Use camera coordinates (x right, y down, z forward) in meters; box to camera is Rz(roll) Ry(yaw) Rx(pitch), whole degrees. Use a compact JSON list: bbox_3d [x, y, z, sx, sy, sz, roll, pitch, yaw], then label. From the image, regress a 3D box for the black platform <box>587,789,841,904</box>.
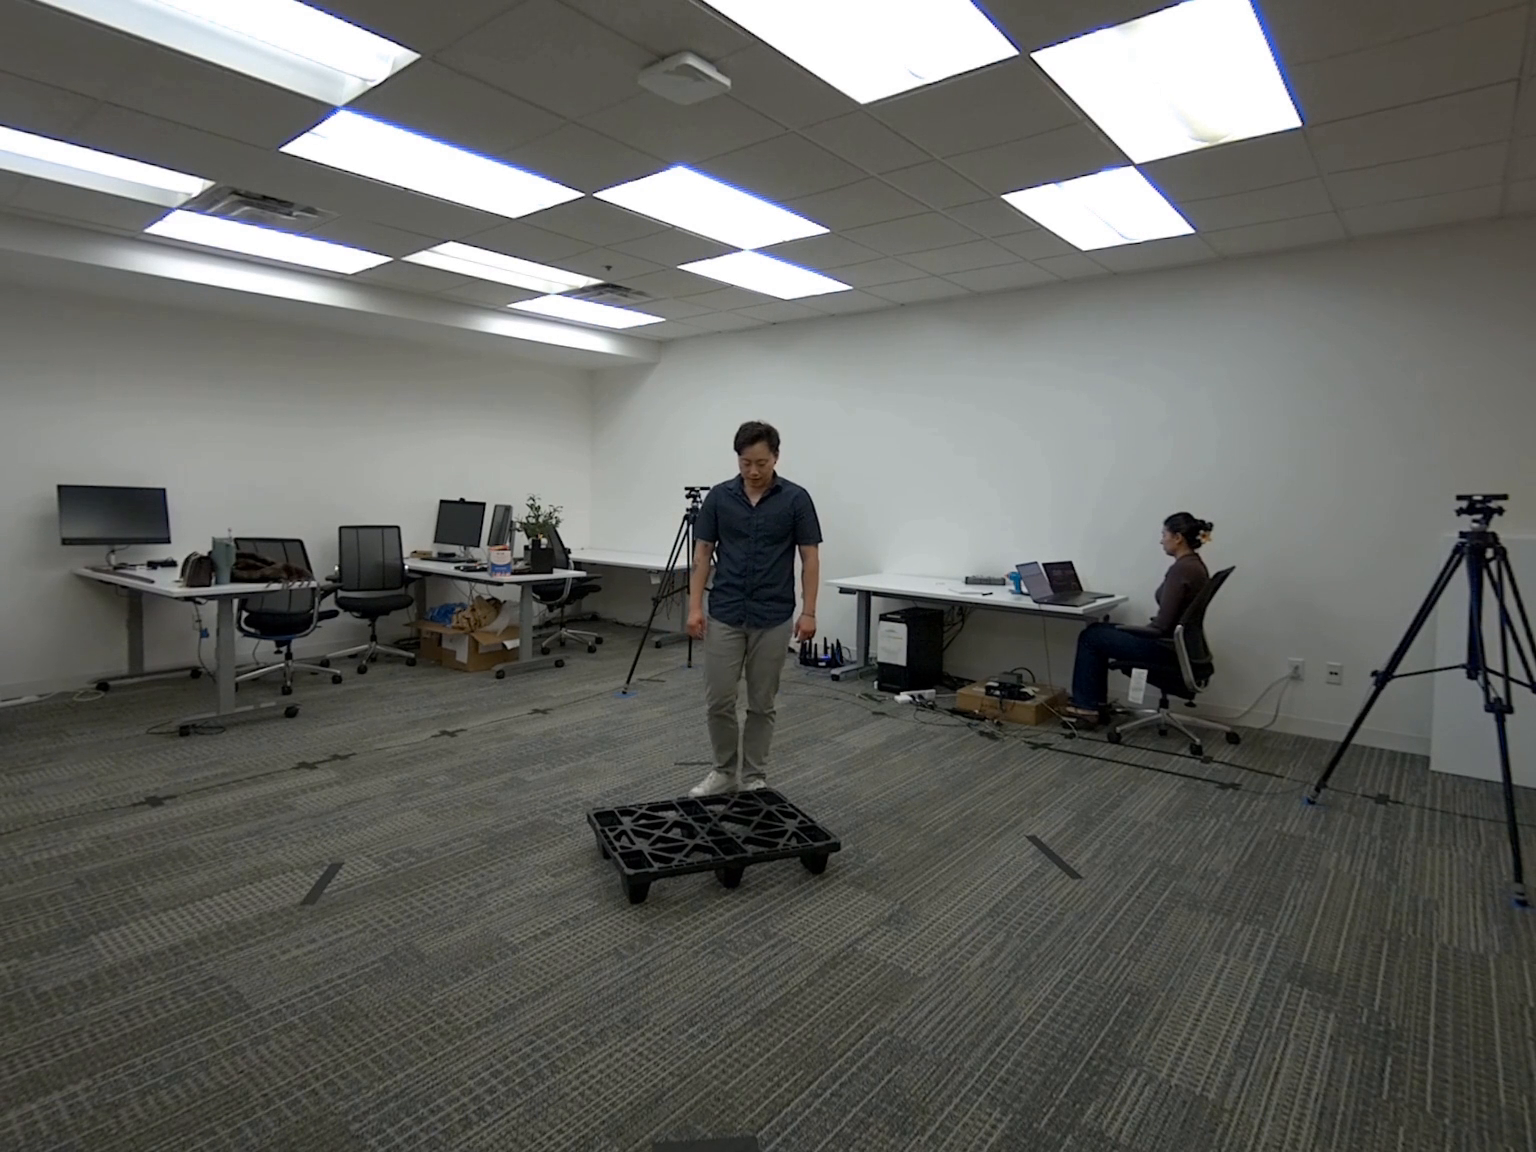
[{"bbox_3d":[-0.225,0.988,3.172,0.788,0.142,0.621,-2,7,-23],"label":"black platform"}]
